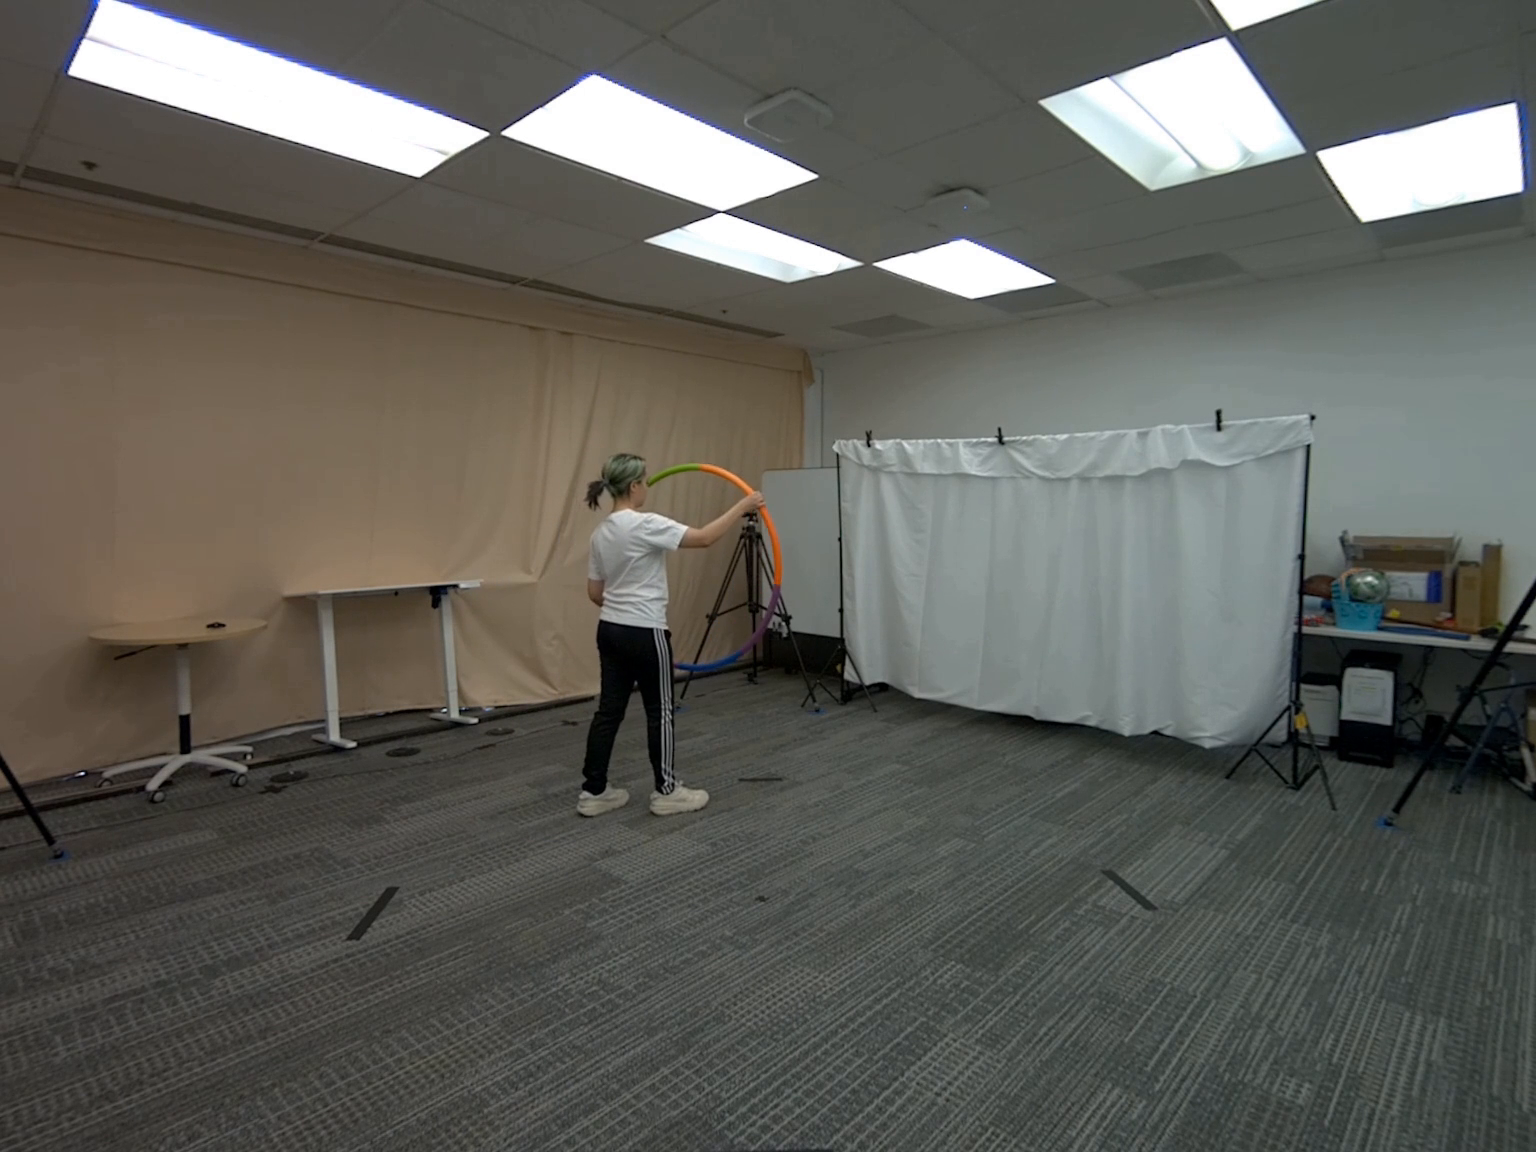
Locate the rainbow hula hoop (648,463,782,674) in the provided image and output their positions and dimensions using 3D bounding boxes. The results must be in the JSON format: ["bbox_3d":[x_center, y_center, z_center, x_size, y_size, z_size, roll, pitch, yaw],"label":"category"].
[{"bbox_3d":[-0.364,-0.040,3.983,1.008,0.978,0.034,2,2,33],"label":"rainbow hula hoop"}]
